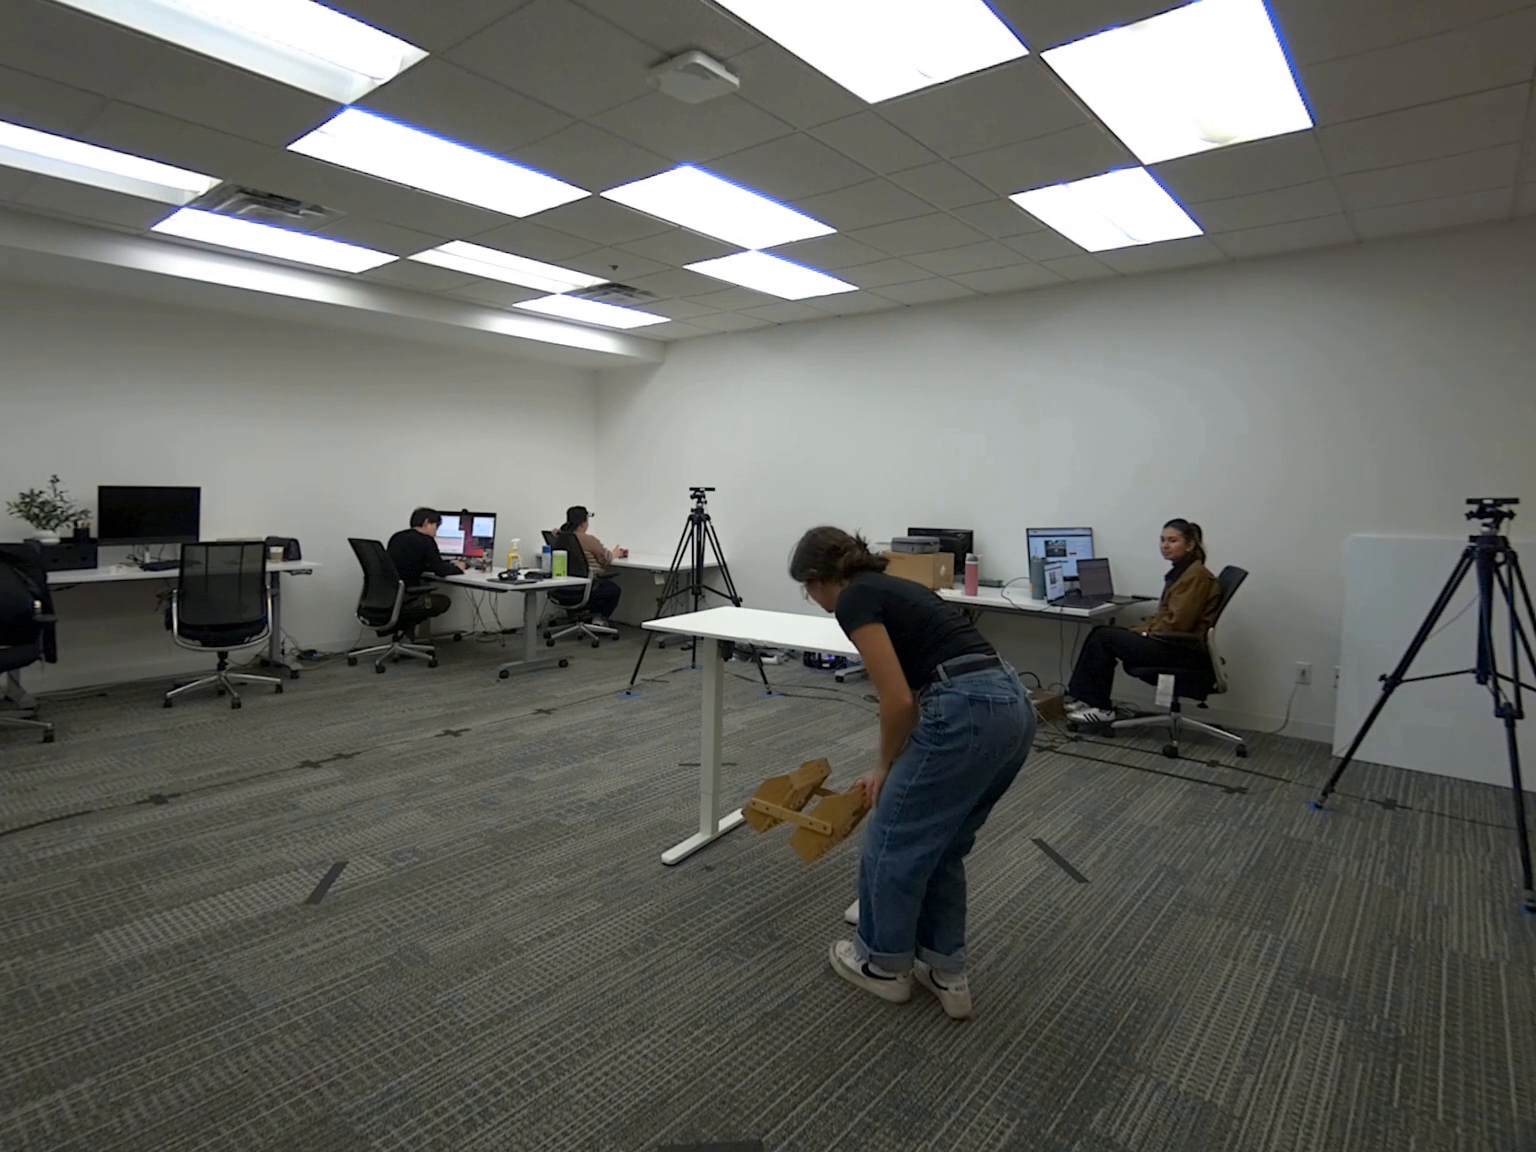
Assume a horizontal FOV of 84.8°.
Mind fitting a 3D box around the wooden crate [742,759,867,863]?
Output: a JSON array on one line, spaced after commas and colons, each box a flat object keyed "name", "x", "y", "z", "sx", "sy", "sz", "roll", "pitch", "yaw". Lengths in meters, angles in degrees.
[{"name": "wooden crate", "x": 0.143, "y": 0.697, "z": 2.689, "sx": 0.282, "sy": 0.301, "sz": 0.315, "roll": 42, "pitch": 17, "yaw": 23}]
